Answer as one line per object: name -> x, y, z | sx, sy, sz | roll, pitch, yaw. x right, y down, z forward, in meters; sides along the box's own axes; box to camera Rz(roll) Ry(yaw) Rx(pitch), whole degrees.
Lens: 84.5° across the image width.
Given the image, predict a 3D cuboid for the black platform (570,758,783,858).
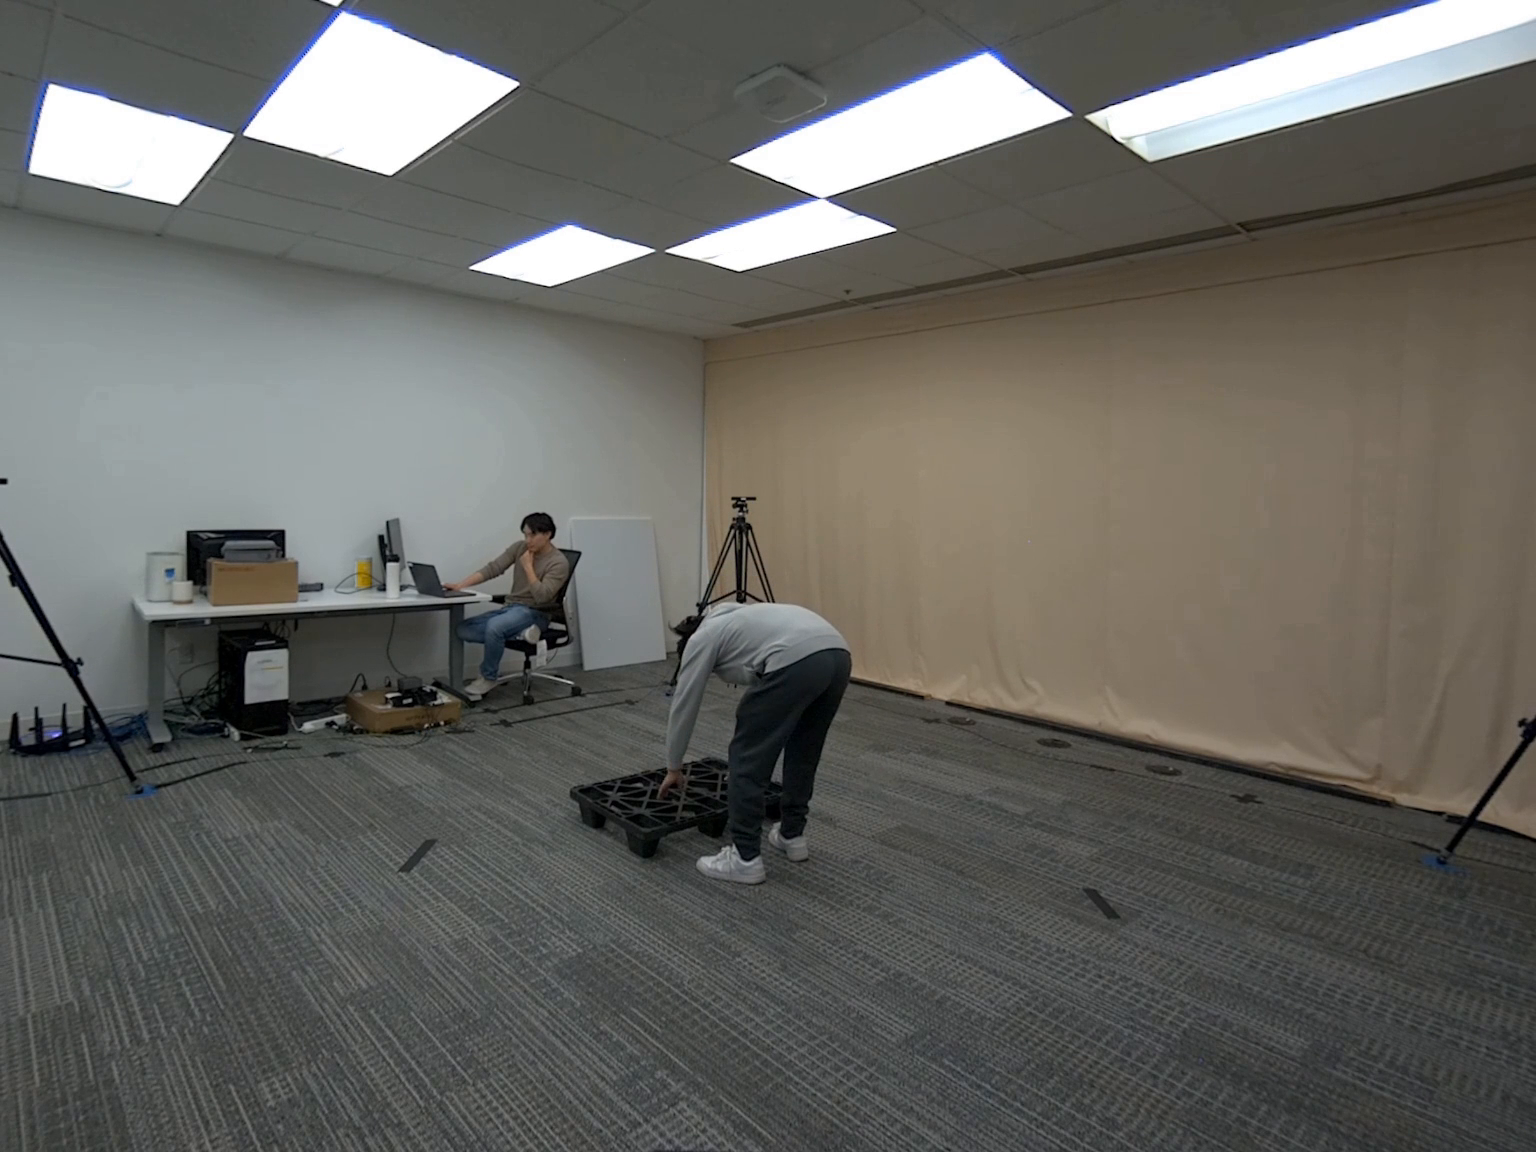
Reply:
black platform -> -0.366, 0.988, 3.642 | 0.787, 0.143, 0.621 | -3, 7, -41
